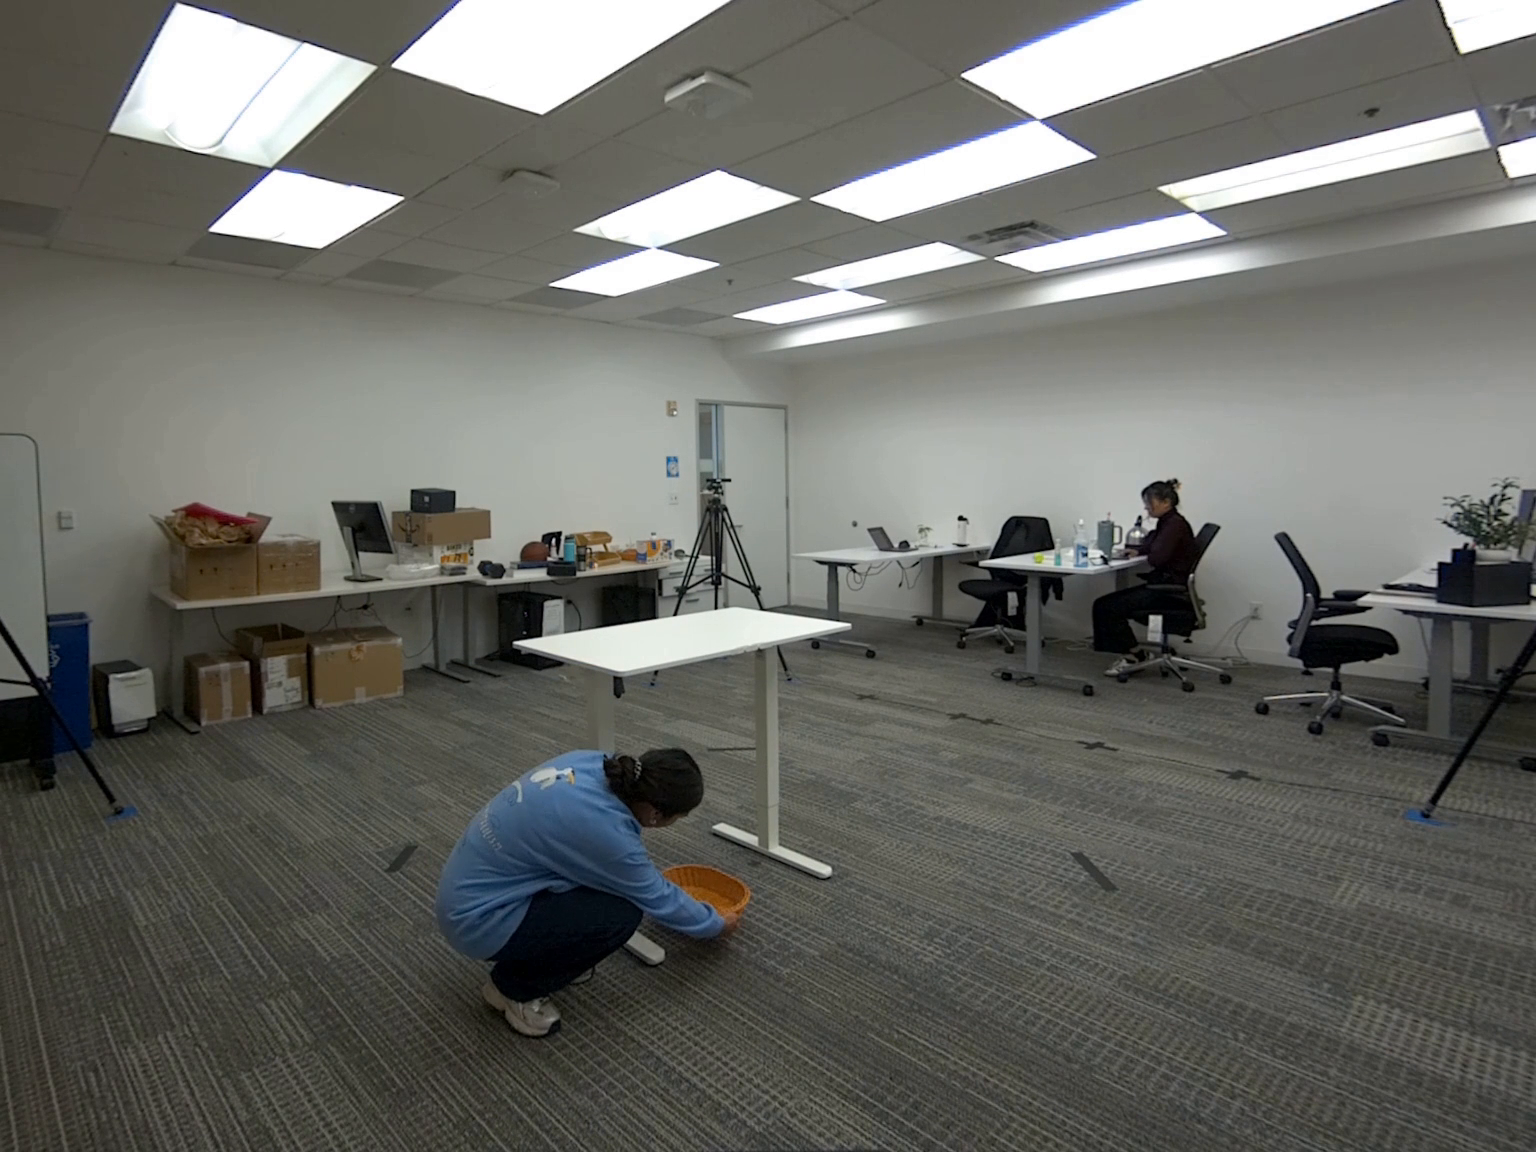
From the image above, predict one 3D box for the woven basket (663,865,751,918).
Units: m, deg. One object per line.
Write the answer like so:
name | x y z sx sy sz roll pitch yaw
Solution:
woven basket | -0.213 1.011 2.648 0.246 0.073 0.361 -11 12 -41
